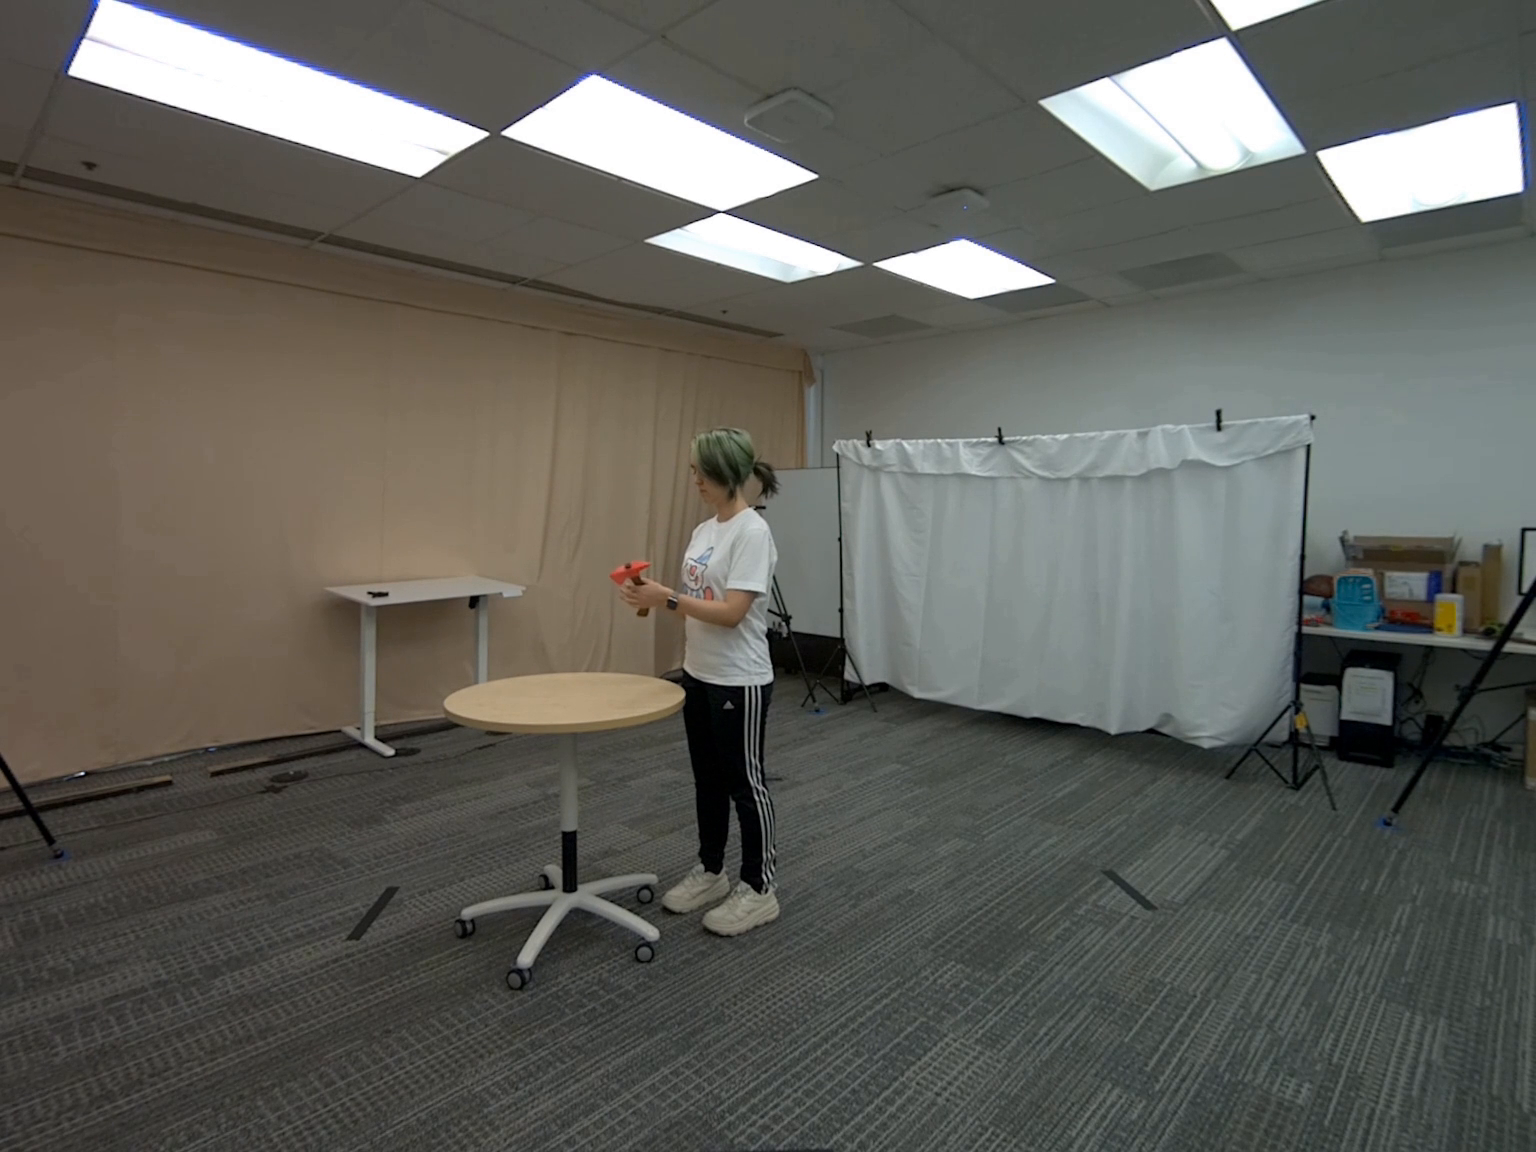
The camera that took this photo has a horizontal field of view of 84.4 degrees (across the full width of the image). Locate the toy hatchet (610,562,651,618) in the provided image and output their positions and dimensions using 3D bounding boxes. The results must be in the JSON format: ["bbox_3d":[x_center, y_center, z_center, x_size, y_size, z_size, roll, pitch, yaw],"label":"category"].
[{"bbox_3d":[-0.445,0.048,2.721,0.129,0.266,0.030,-6,49,-14],"label":"toy hatchet"}]
